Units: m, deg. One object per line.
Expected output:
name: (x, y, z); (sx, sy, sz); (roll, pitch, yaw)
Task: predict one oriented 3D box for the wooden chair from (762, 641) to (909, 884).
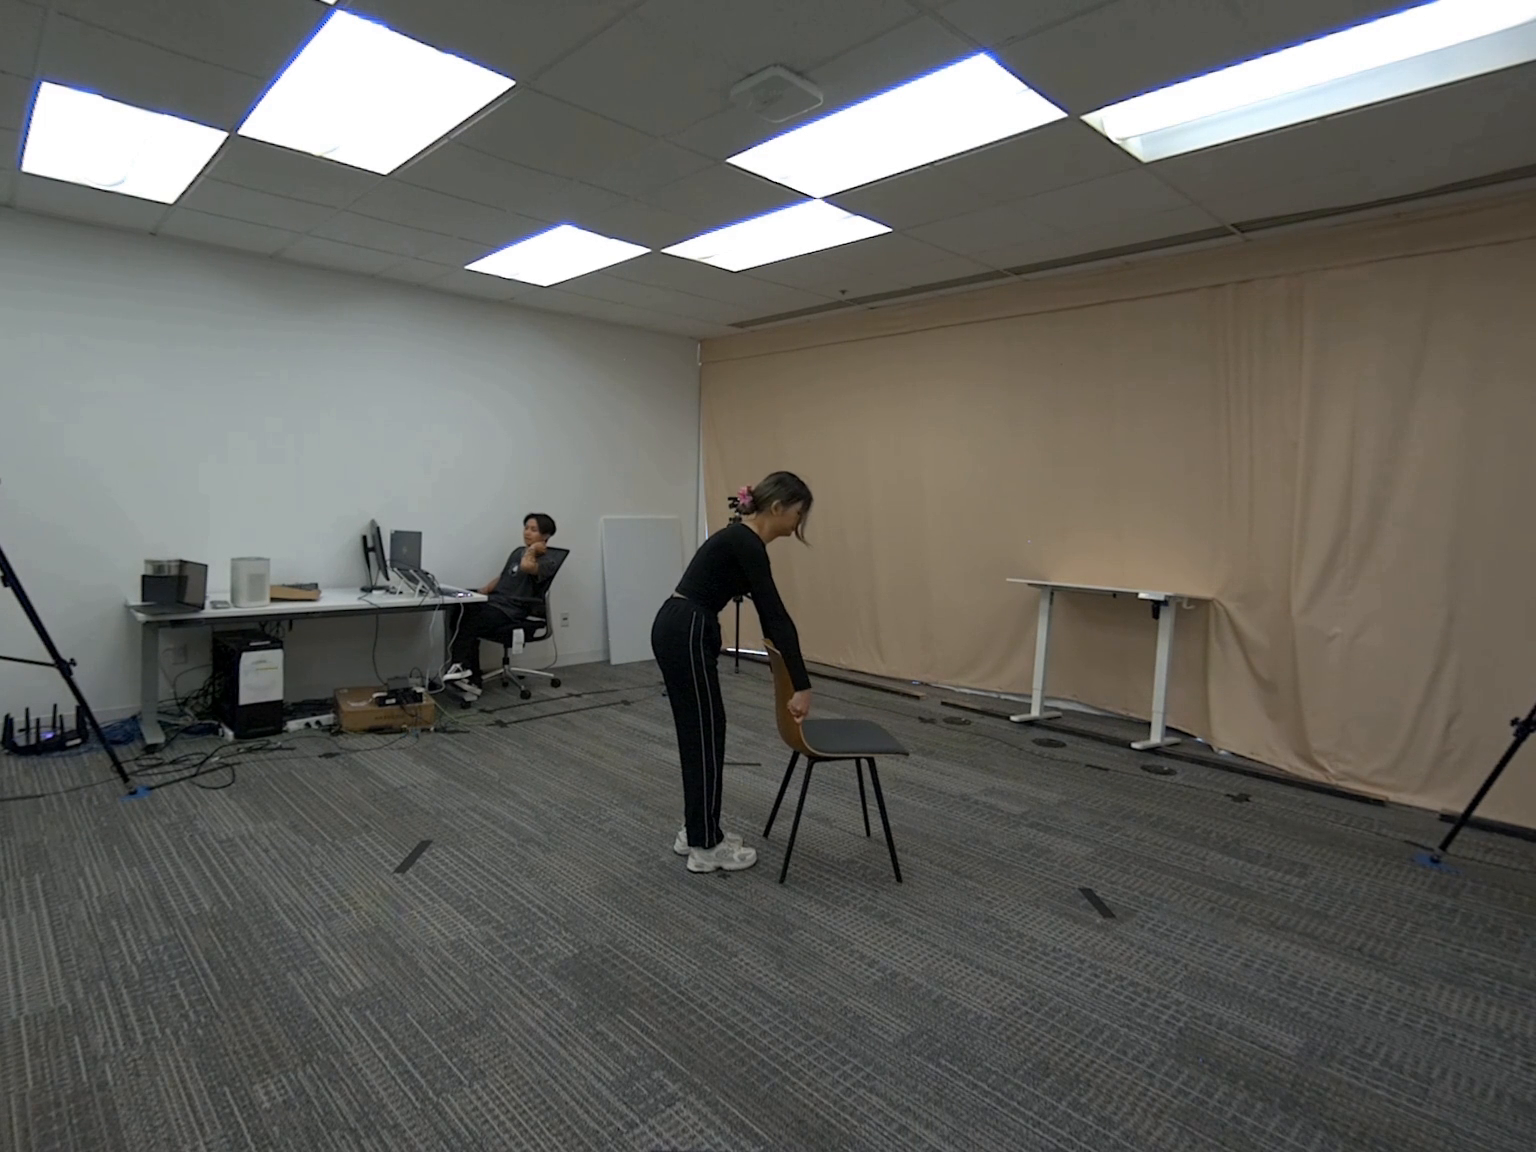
wooden chair: (0.253, 0.665, 3.257); (0.520, 0.876, 0.481); (-3, 2, -7)
